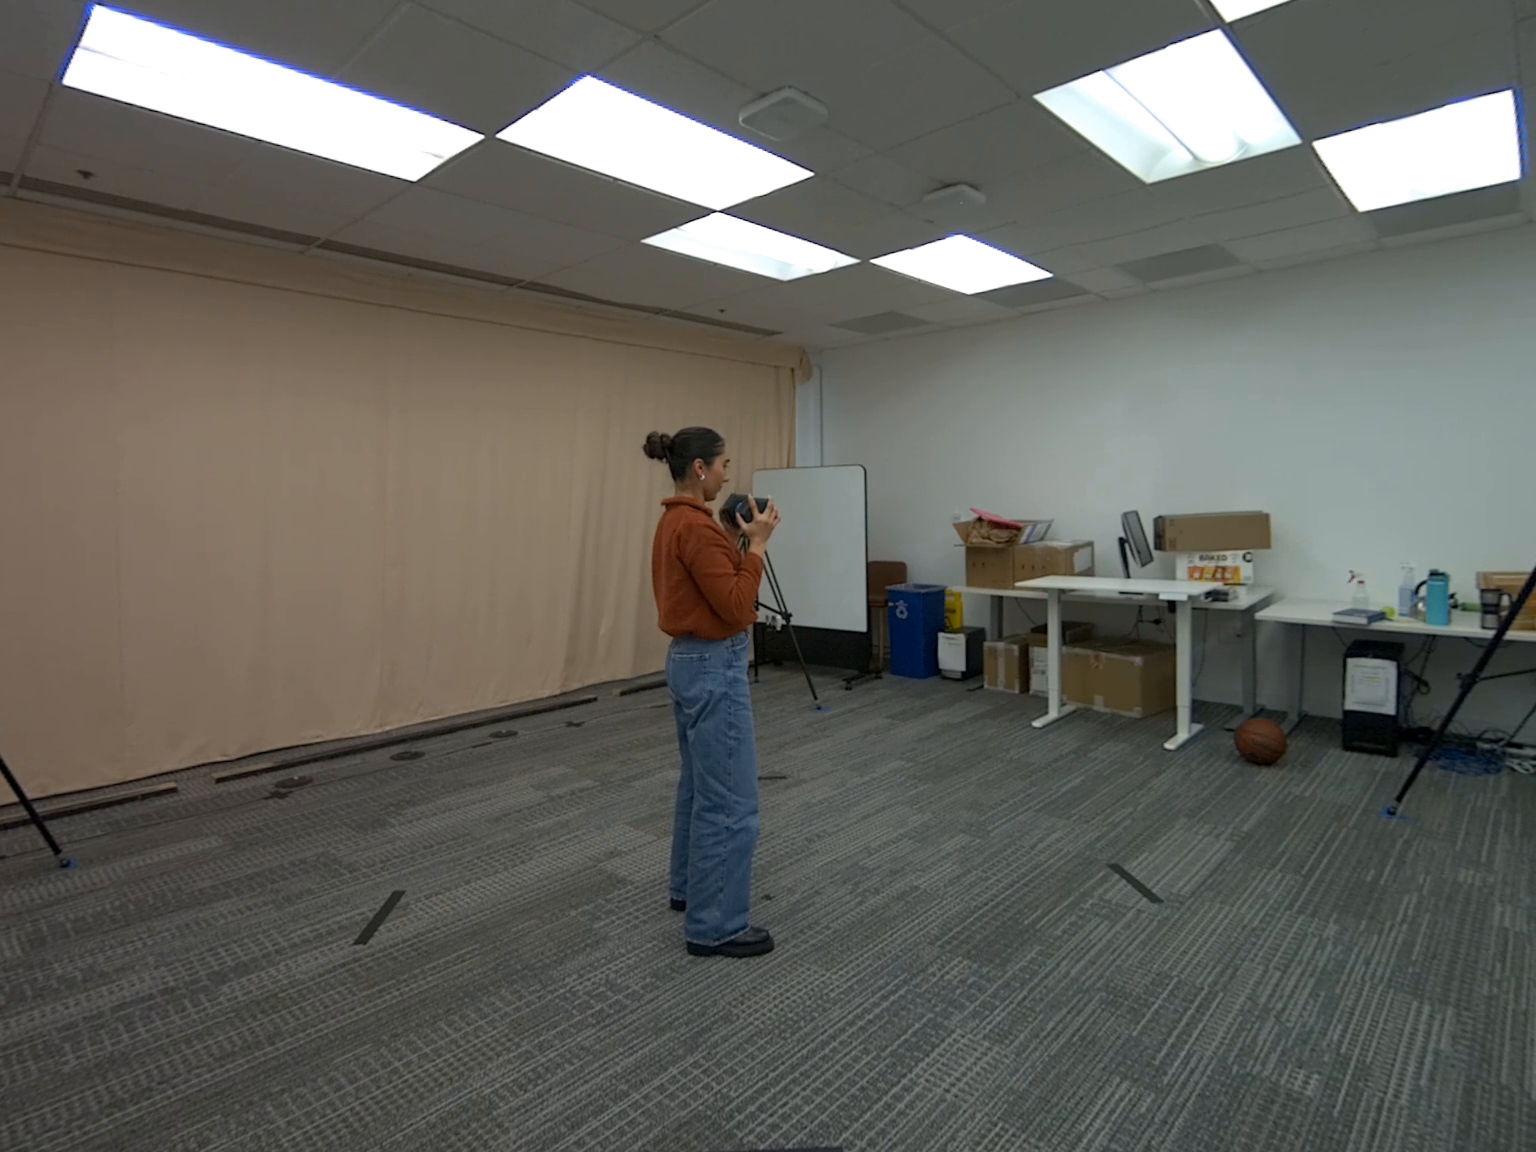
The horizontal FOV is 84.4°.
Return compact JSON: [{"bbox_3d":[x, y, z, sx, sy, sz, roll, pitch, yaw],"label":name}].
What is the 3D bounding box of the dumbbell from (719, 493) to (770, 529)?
[{"bbox_3d":[-0.070,-0.211,2.740,0.108,0.121,0.299,-30,16,-9],"label":"dumbbell"}]
